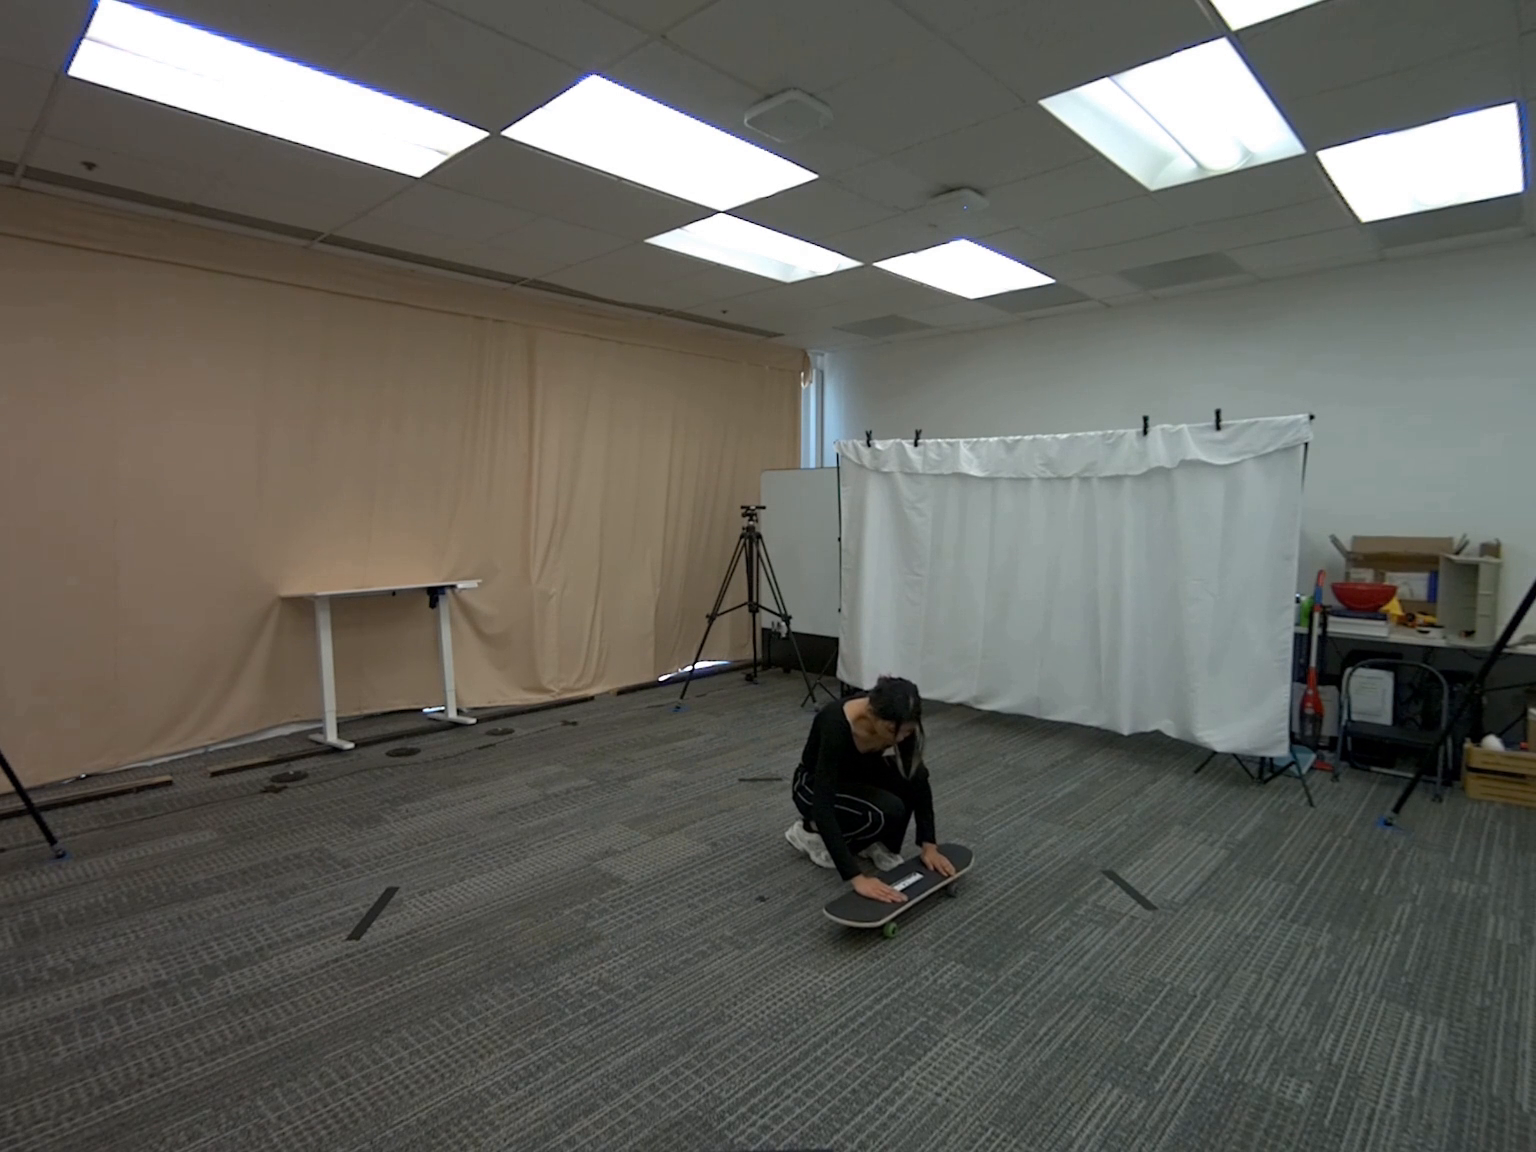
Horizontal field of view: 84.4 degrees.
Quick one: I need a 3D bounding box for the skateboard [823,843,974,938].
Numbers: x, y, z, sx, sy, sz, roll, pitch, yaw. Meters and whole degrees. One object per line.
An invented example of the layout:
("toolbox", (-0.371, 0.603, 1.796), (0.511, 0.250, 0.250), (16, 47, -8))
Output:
("skateboard", (0.468, 1.088, 2.901), (0.200, 0.110, 0.761), (5, 7, 43))
